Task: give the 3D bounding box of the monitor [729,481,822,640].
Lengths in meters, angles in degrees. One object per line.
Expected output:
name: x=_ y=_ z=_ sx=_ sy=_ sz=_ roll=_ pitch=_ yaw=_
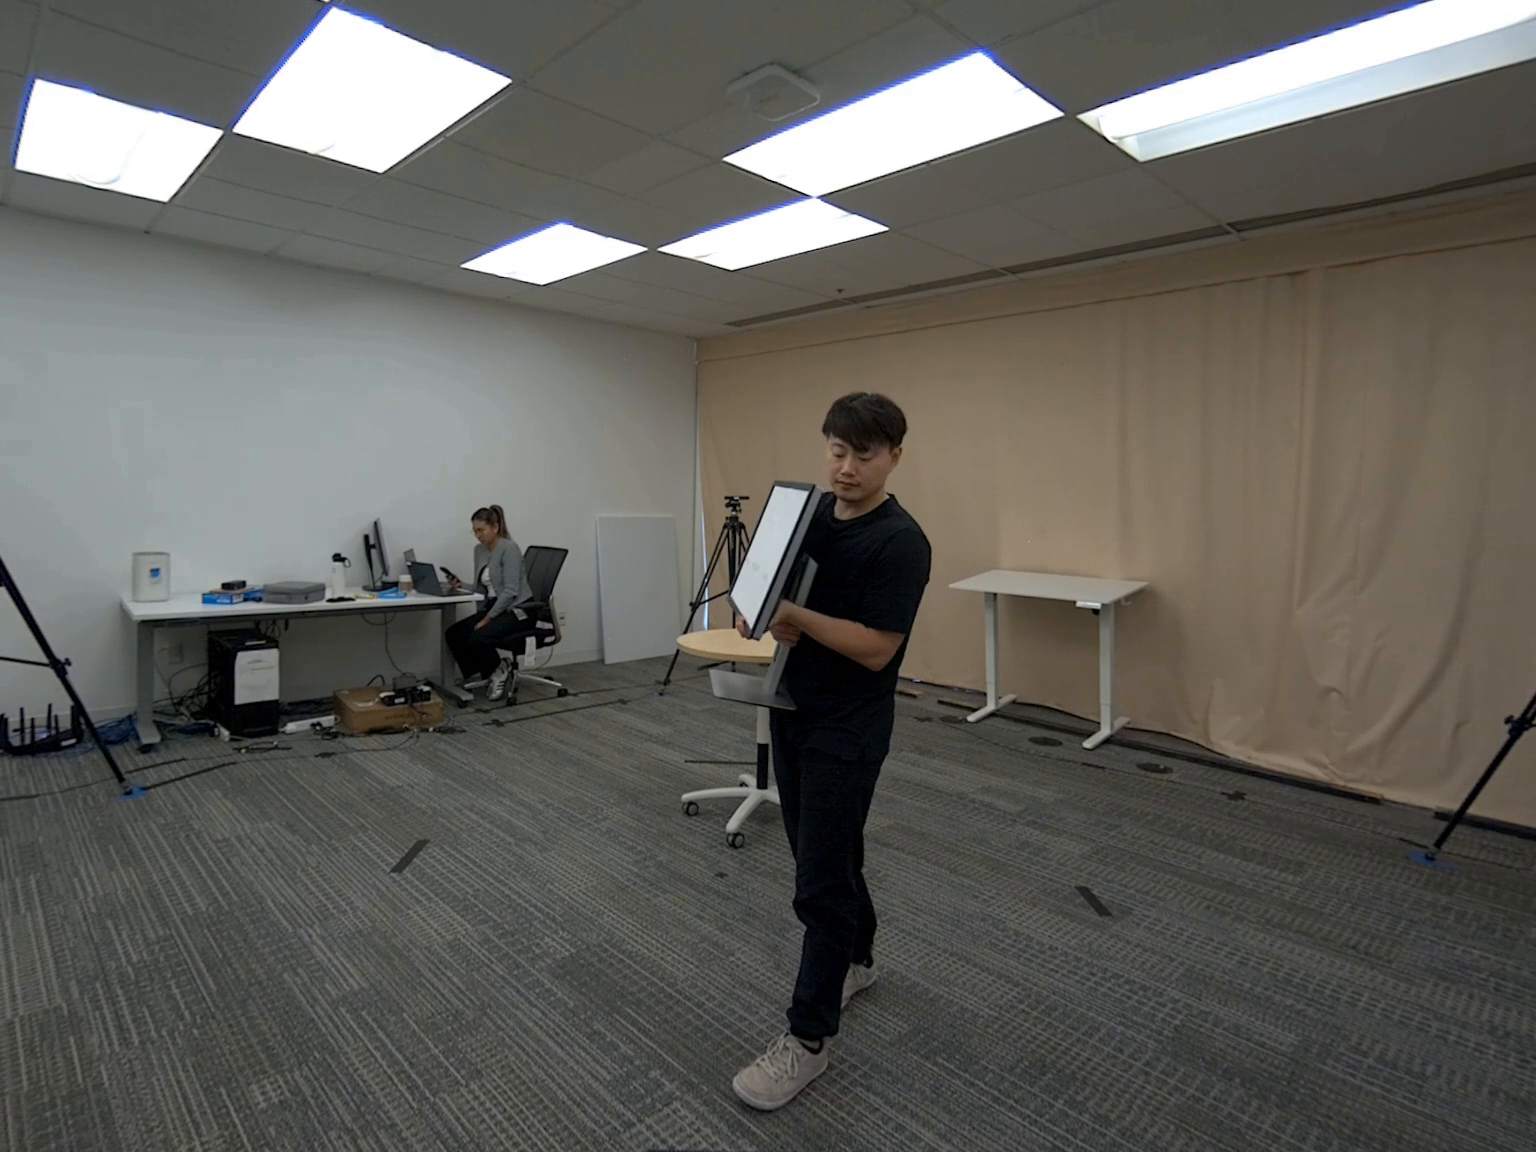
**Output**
monitor: x=0.006 y=0.035 z=2.085 sx=0.186 sy=0.521 sz=0.544 roll=10 pitch=4 yaw=-8
